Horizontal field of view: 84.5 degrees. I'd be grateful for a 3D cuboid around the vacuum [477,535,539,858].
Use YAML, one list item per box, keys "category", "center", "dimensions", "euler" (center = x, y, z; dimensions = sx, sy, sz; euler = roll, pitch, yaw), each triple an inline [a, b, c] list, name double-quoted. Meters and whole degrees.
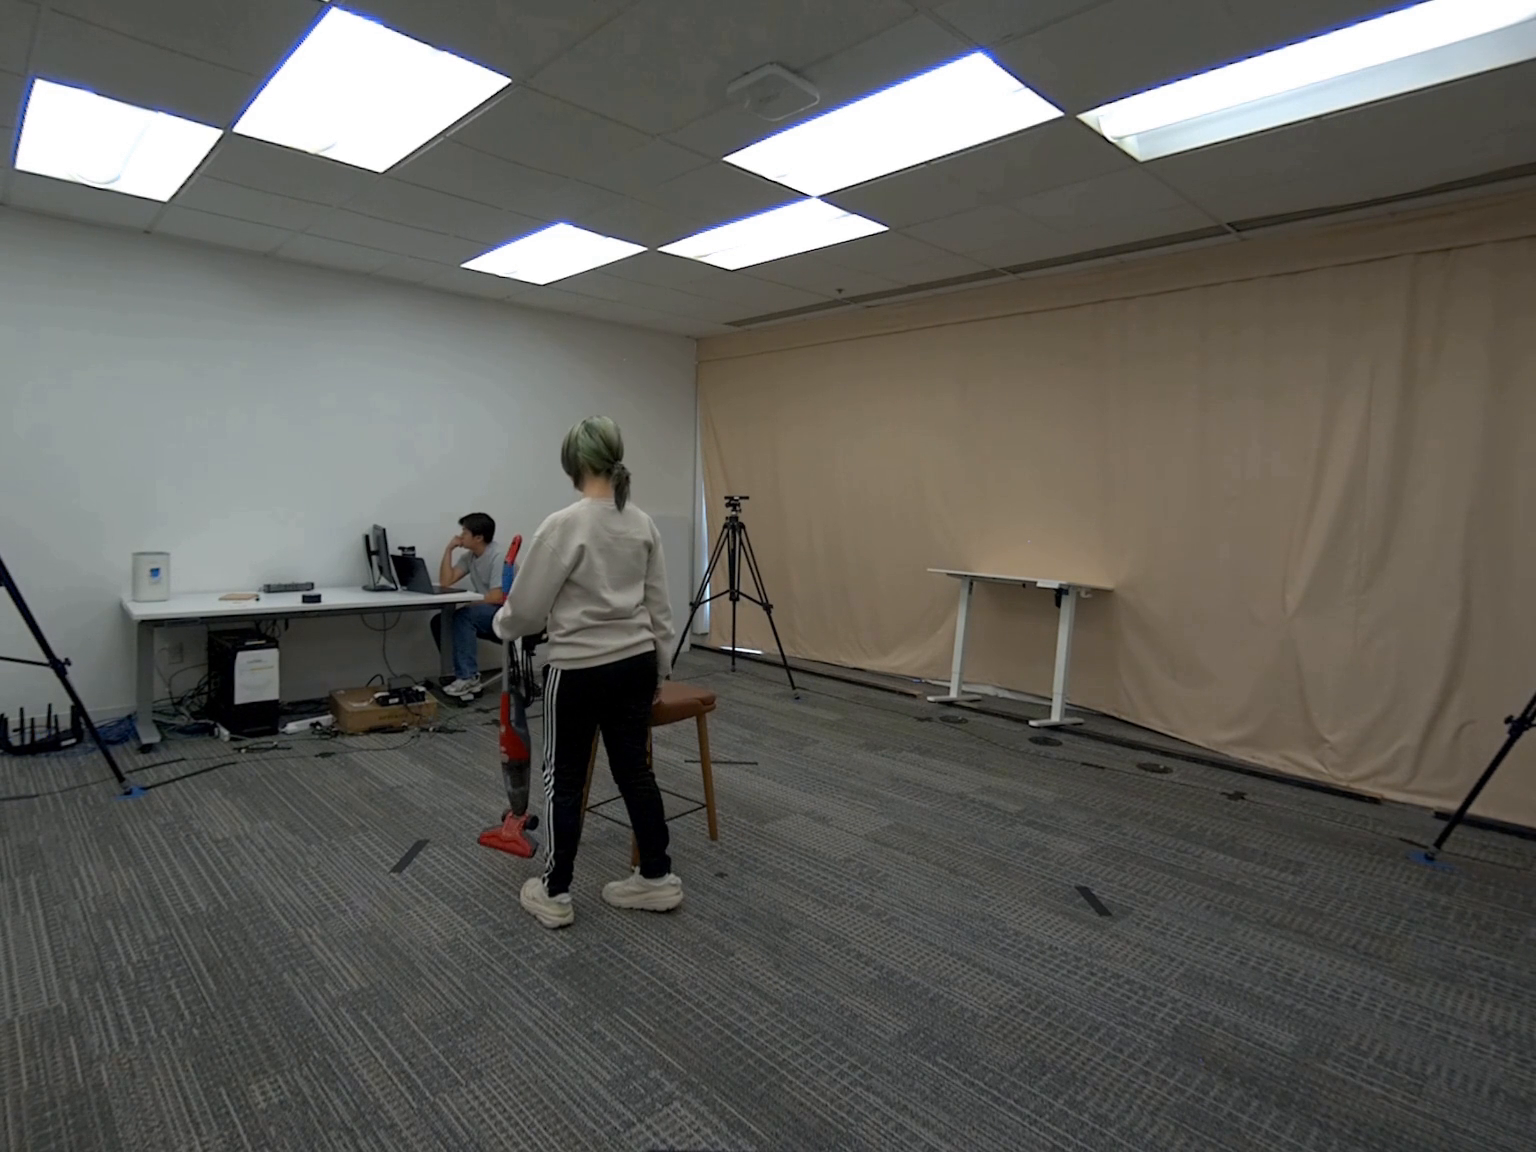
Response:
- category: "vacuum"
  center: [-0.906, 0.397, 2.952]
  dimensions: [0.257, 1.047, 0.142]
  euler: [2, 3, 21]
